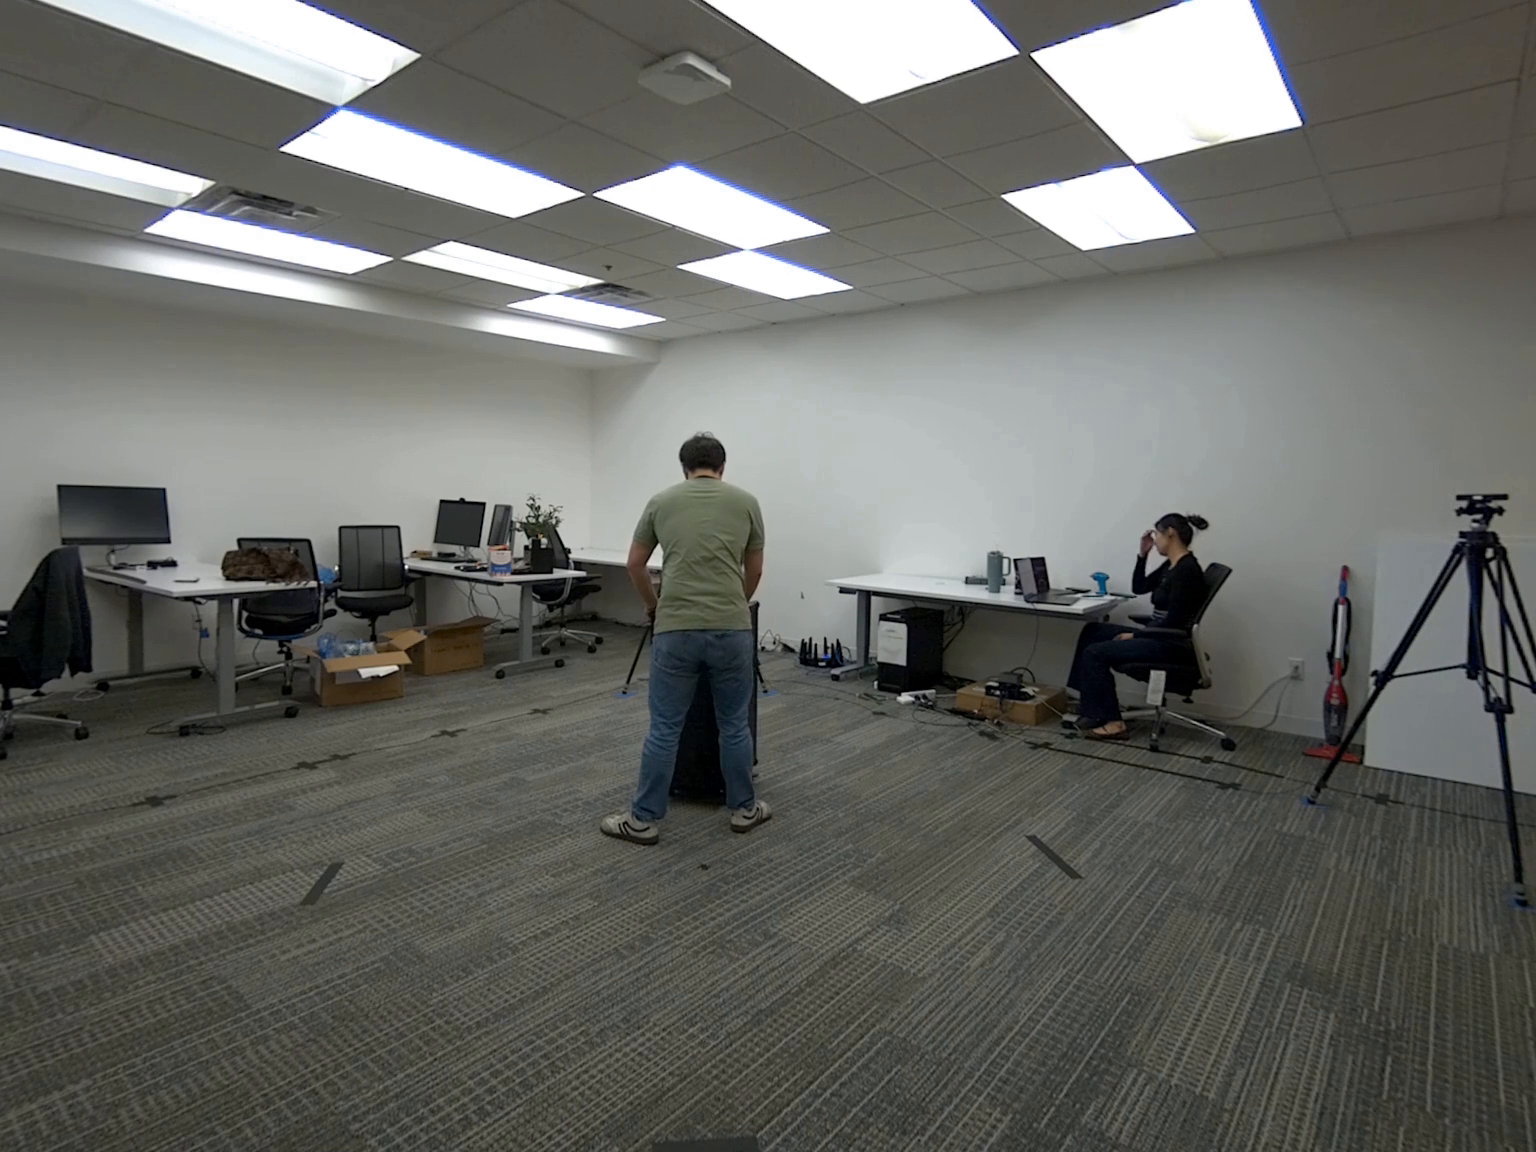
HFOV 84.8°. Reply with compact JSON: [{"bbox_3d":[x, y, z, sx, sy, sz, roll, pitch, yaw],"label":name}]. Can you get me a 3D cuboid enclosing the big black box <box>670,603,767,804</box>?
[{"bbox_3d":[-0.296,0.558,3.900,0.404,0.858,0.513,0,4,17],"label":"big black box"}]
